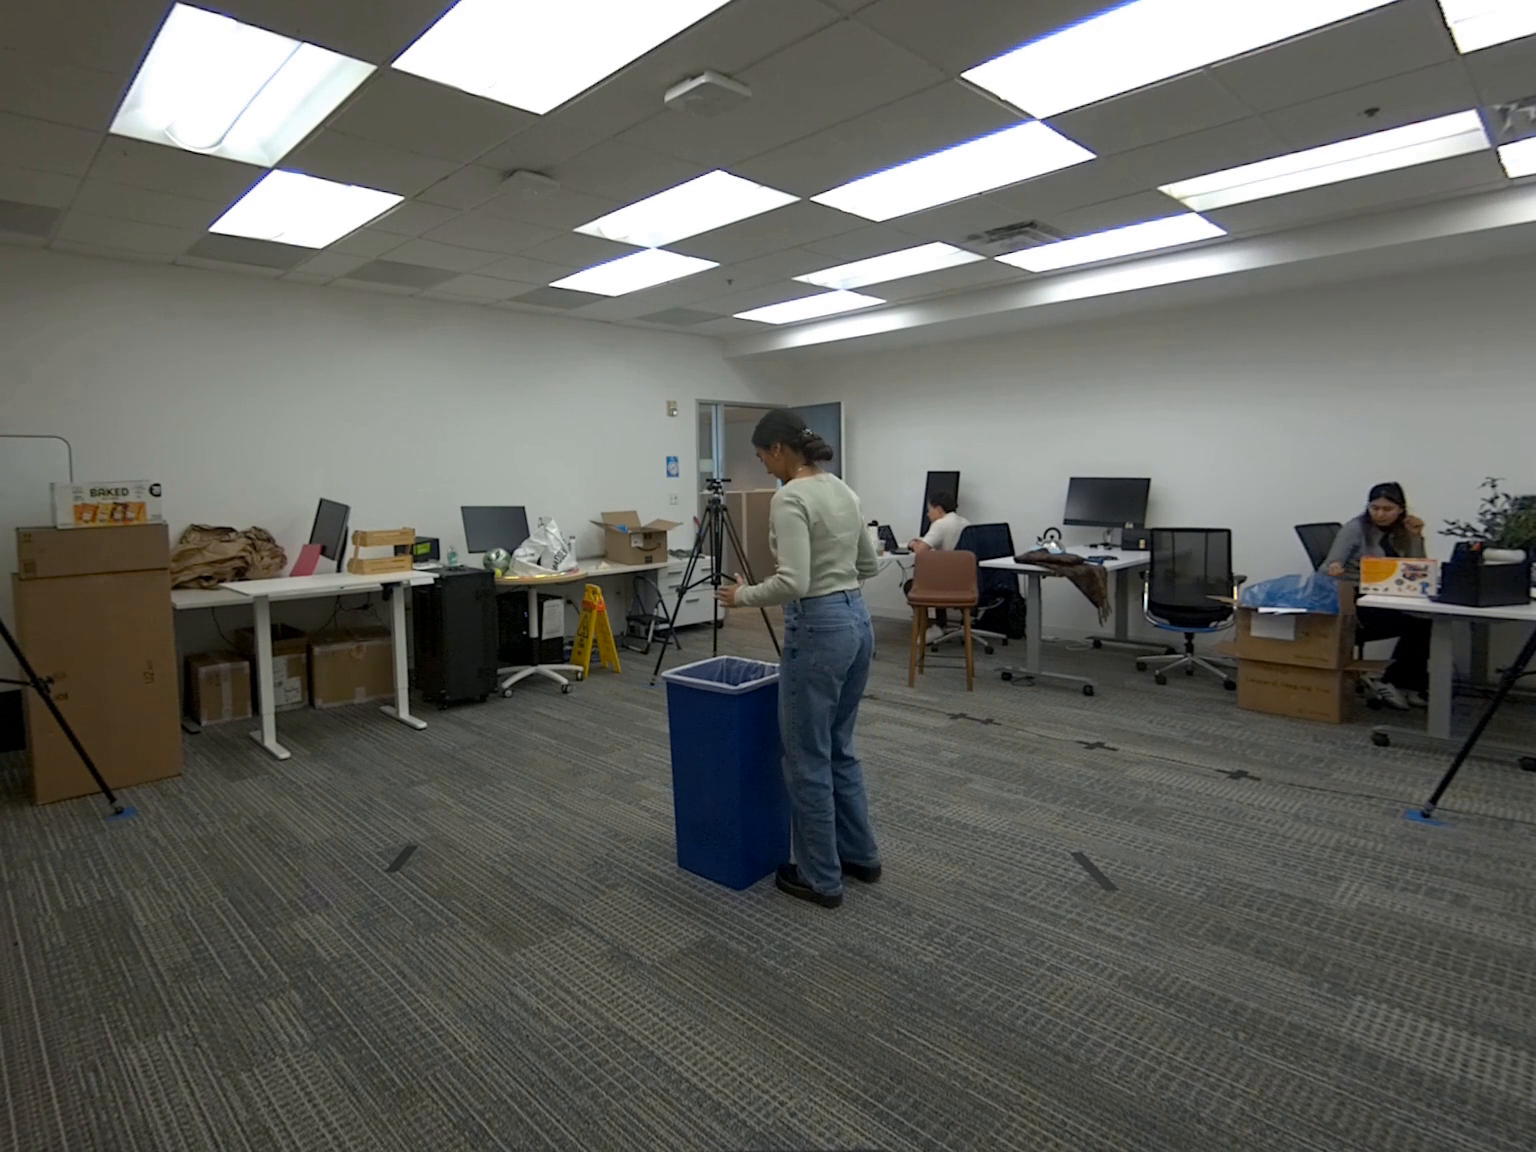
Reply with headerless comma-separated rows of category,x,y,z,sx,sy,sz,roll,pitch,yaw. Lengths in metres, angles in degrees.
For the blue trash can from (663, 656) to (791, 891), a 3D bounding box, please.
blue trash can,-0.127,0.689,3.074,0.389,0.711,0.364,2,5,40
